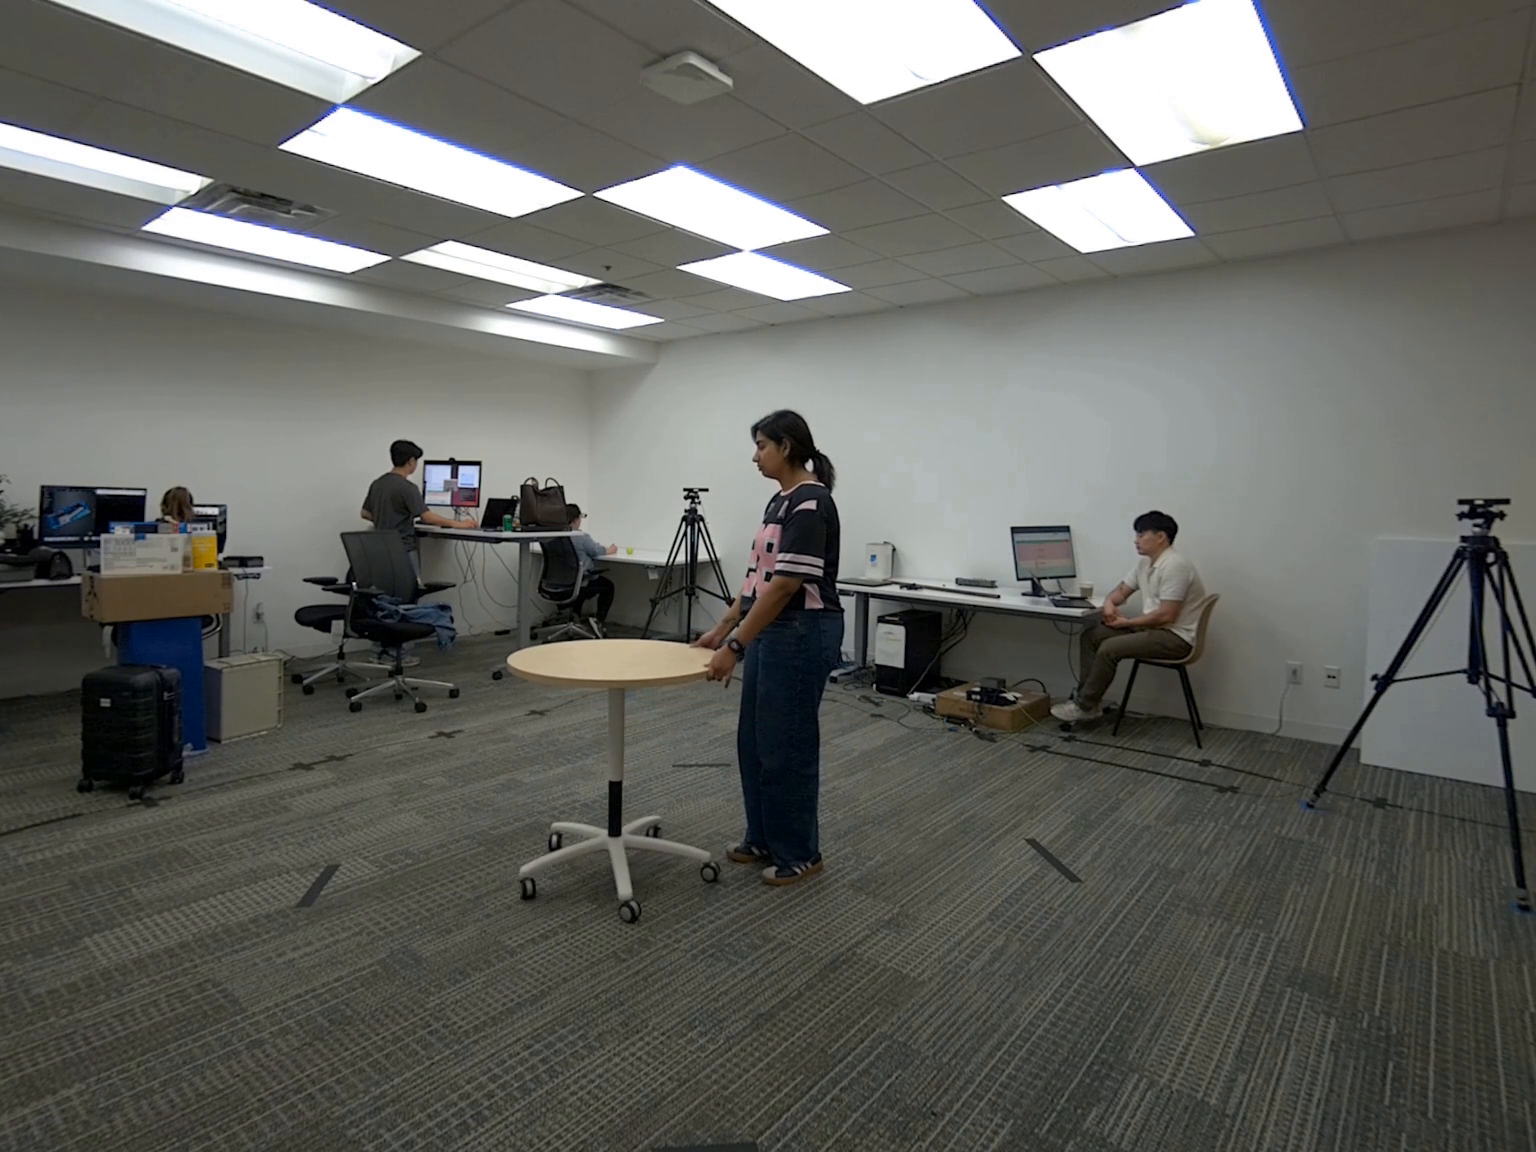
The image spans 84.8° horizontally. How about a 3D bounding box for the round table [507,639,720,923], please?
[{"bbox_3d":[-0.543,0.677,3.042,0.784,0.784,0.789,0,4,-2],"label":"round table"}]
